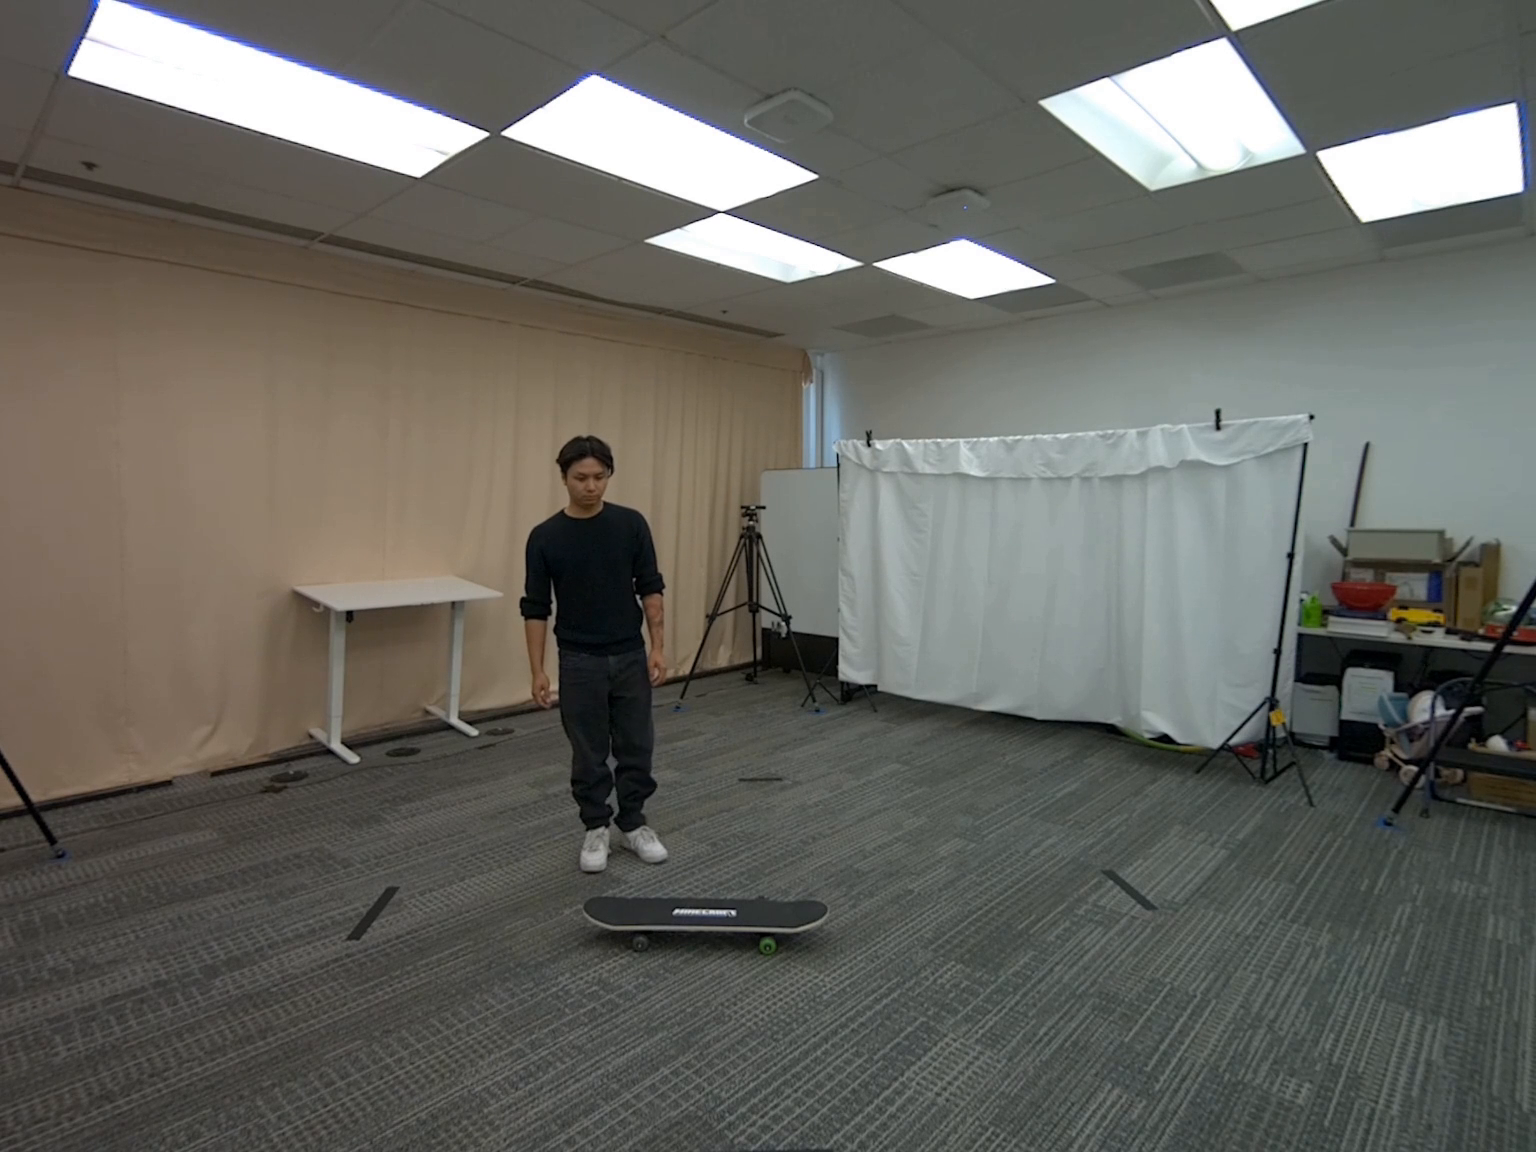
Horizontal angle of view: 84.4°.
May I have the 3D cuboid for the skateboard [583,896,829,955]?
[{"bbox_3d":[-0.196,1.114,2.695,0.787,0.110,0.193,-1,5,1],"label":"skateboard"}]
